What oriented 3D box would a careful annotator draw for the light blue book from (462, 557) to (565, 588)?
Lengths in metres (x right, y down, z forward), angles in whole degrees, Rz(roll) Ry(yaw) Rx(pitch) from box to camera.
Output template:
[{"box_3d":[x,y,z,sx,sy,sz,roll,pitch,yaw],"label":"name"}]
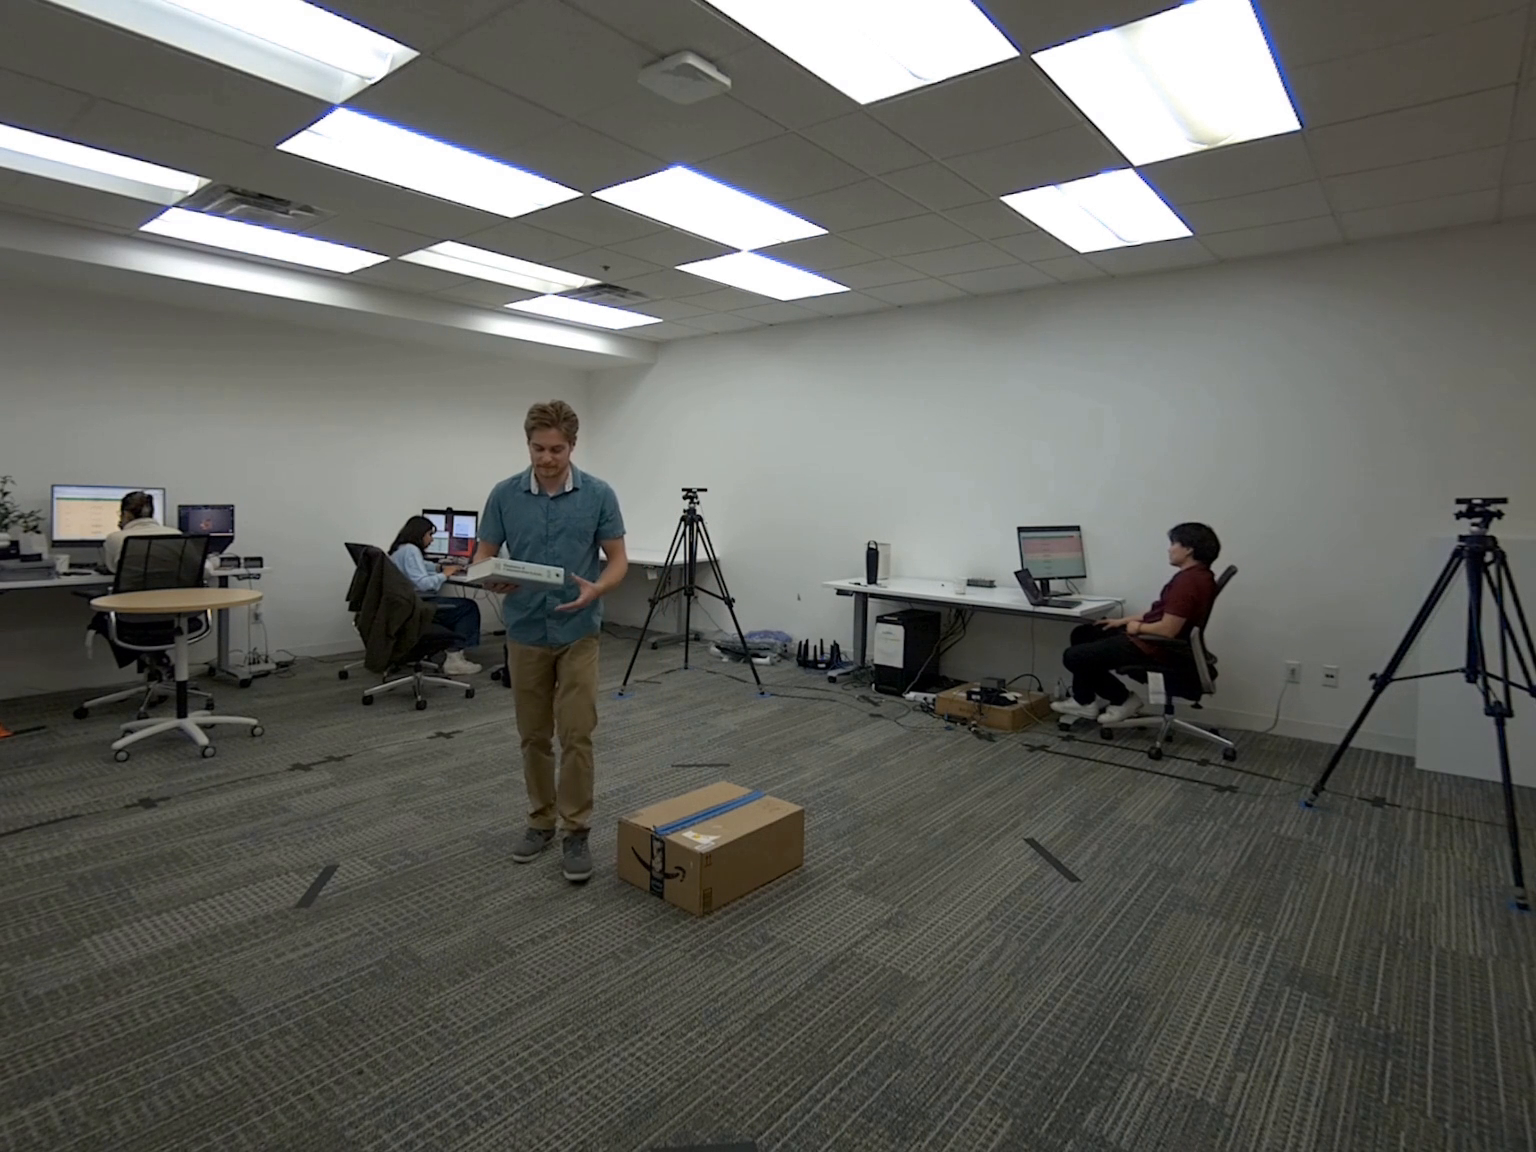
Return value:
[{"box_3d":[-0.857,-0.009,2.811,0.252,0.060,0.196,9,-14,-41],"label":"light blue book"}]
